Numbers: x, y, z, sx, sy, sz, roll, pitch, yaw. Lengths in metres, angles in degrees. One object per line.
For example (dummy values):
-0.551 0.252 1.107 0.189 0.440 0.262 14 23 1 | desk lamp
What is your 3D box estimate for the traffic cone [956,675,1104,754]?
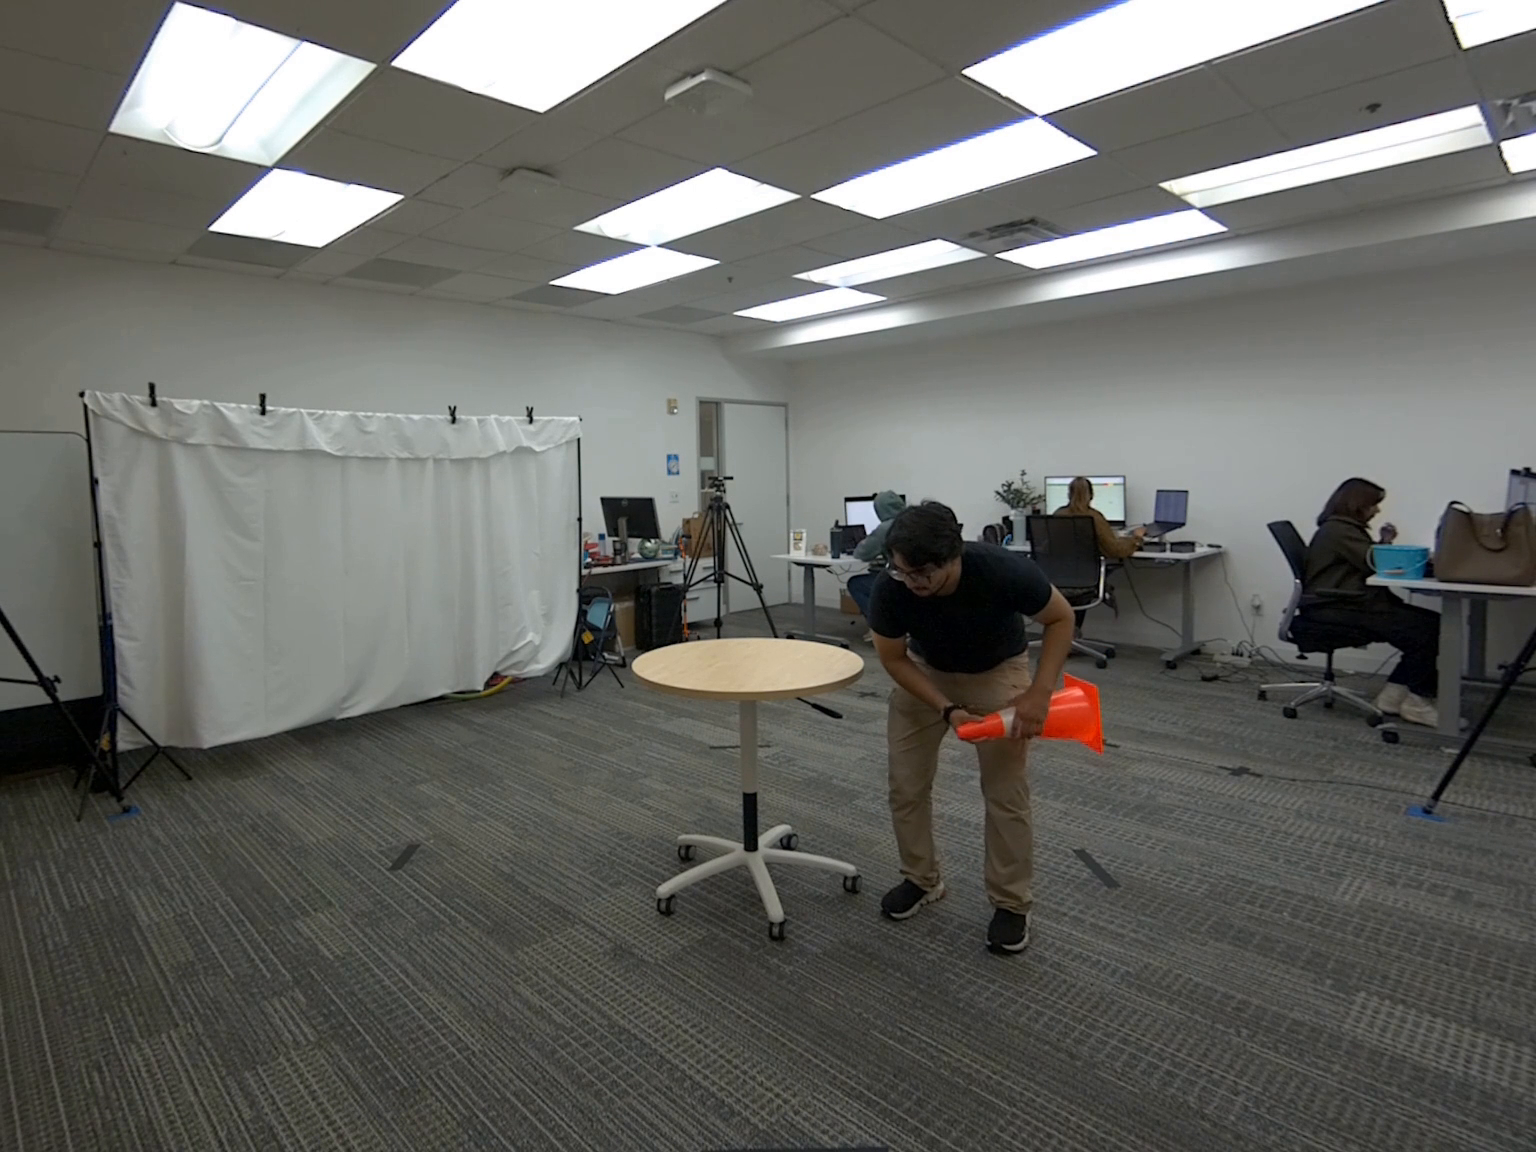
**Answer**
0.736 0.426 2.483 0.382 0.204 0.205 -11 5 -4 | traffic cone
